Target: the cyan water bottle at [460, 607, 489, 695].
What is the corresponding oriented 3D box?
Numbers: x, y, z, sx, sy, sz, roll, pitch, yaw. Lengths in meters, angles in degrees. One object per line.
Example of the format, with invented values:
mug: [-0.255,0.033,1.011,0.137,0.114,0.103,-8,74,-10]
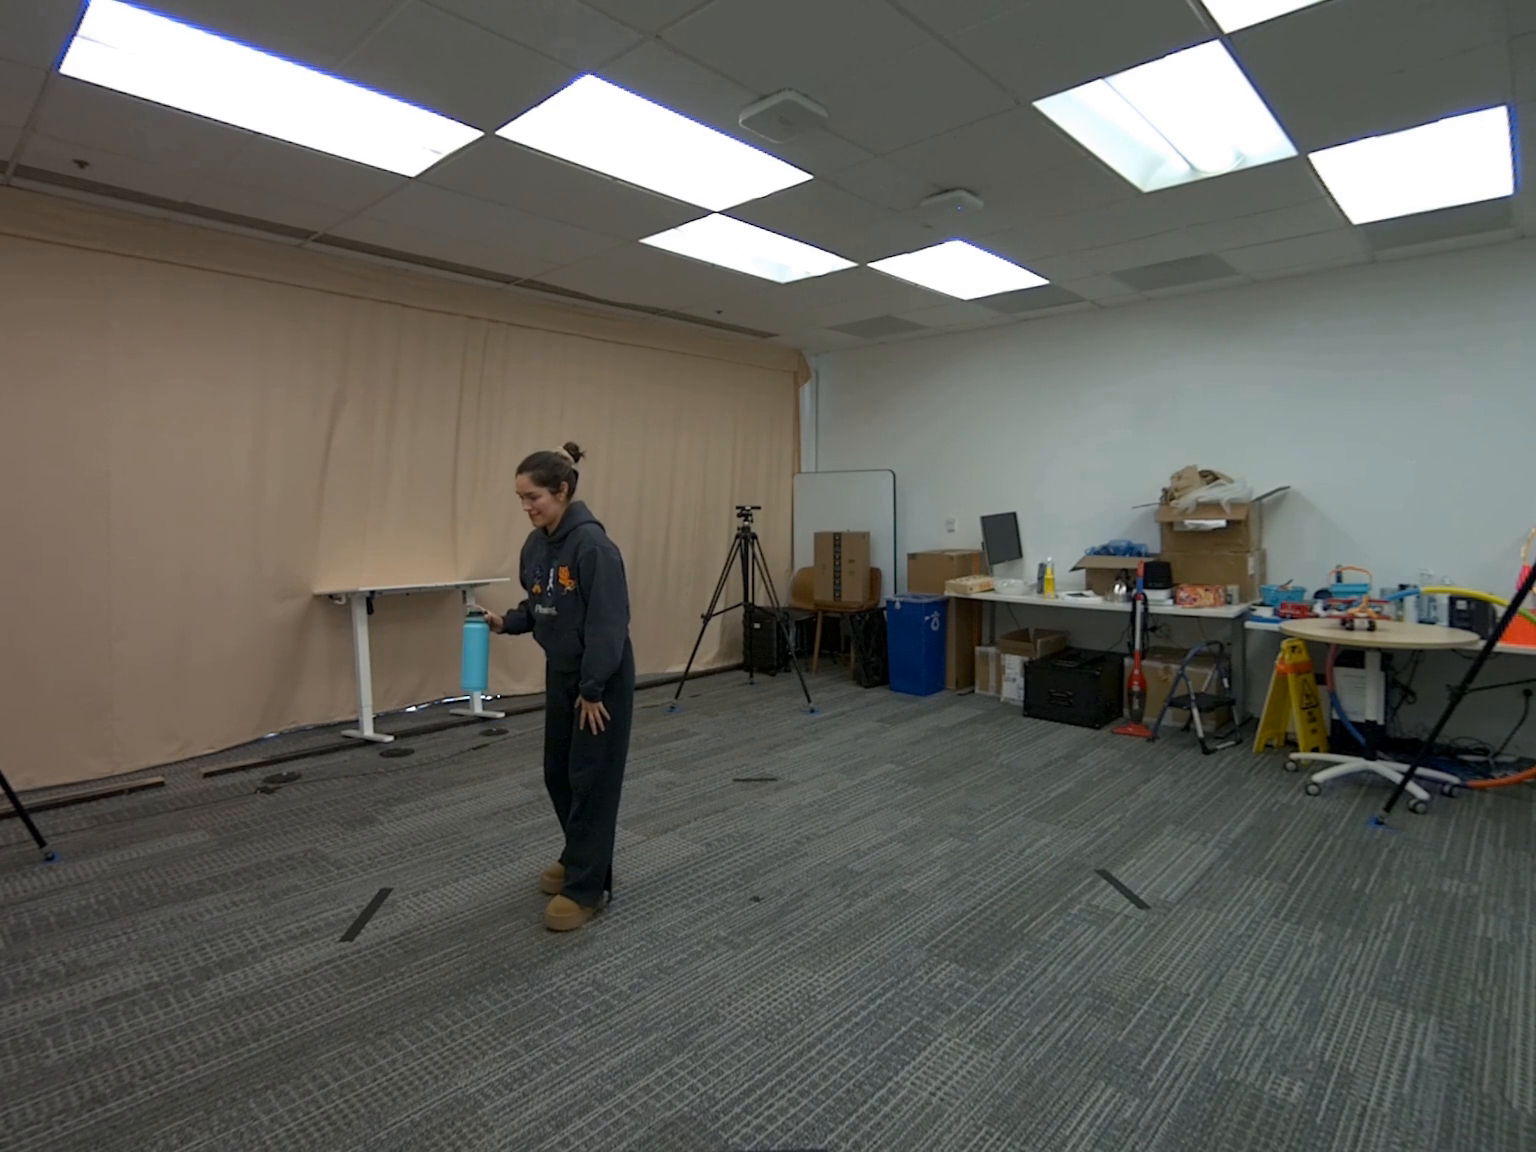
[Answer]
cyan water bottle: [-0.997,0.269,2.882,0.092,0.285,0.092,-1,-7,-2]
